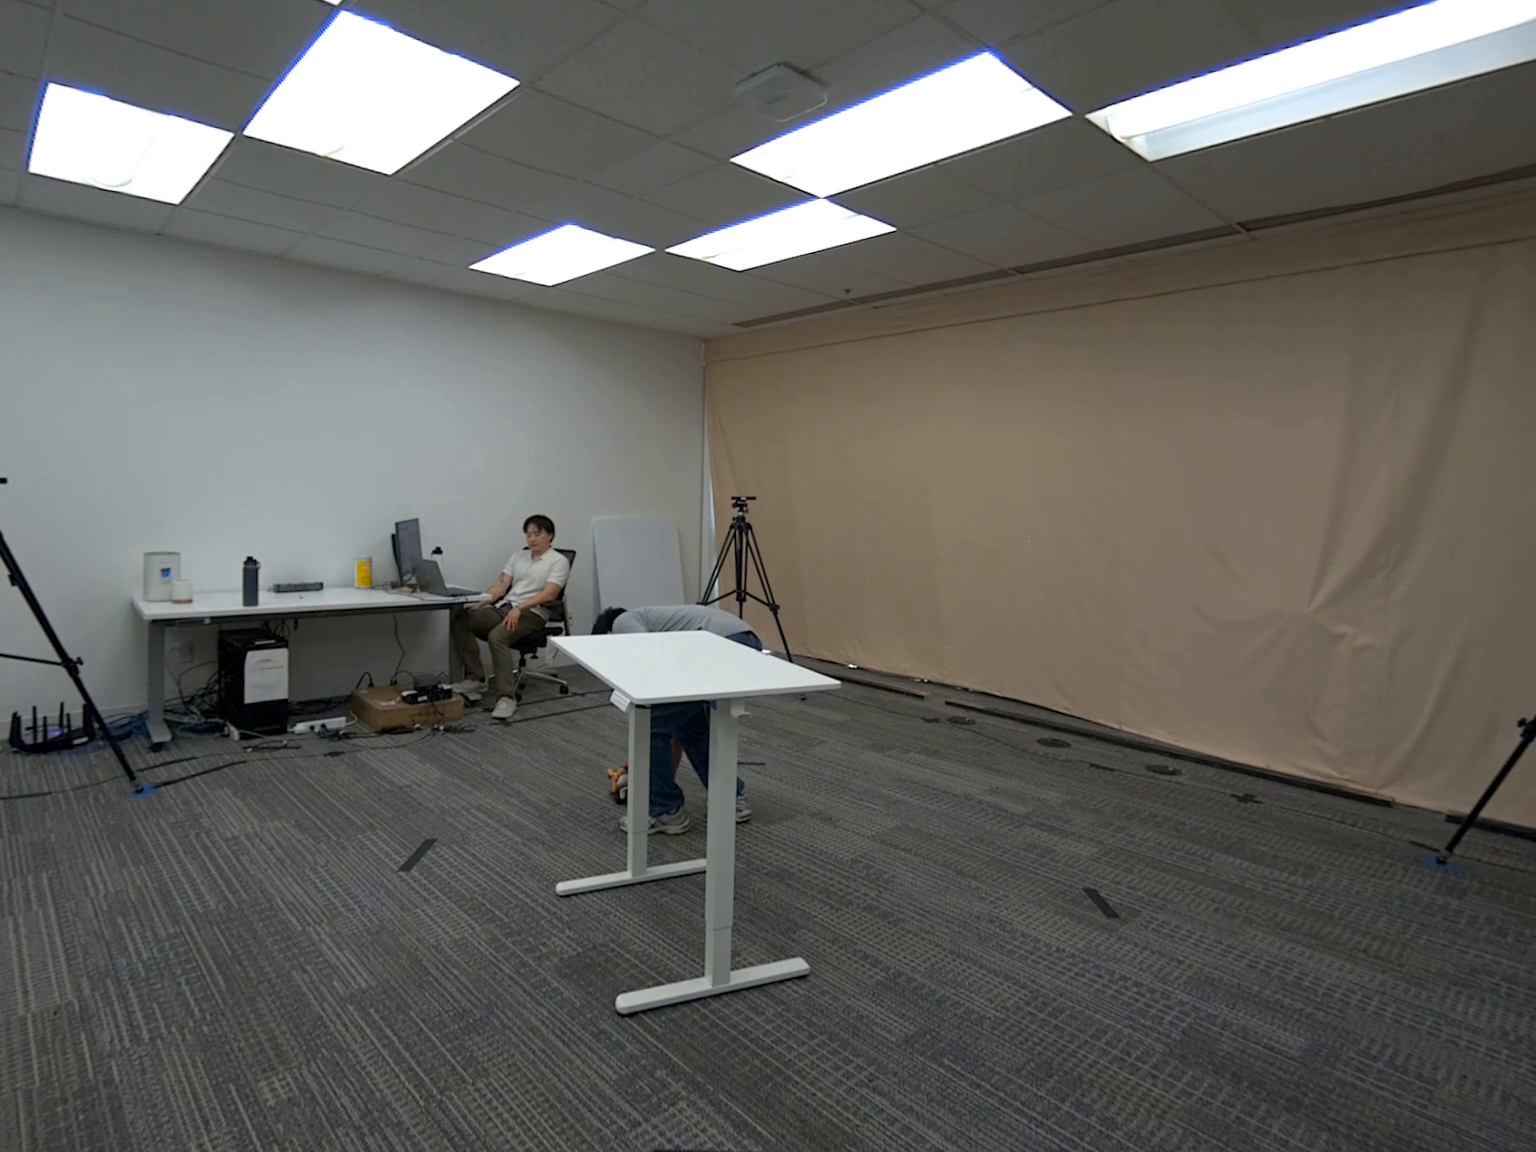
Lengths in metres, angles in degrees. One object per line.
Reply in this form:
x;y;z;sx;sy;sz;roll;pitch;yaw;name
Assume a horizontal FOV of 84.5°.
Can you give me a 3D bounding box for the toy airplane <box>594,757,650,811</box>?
-0.614;0.949;3.872;0.252;0.159;0.254;-21;-17;6;toy airplane
